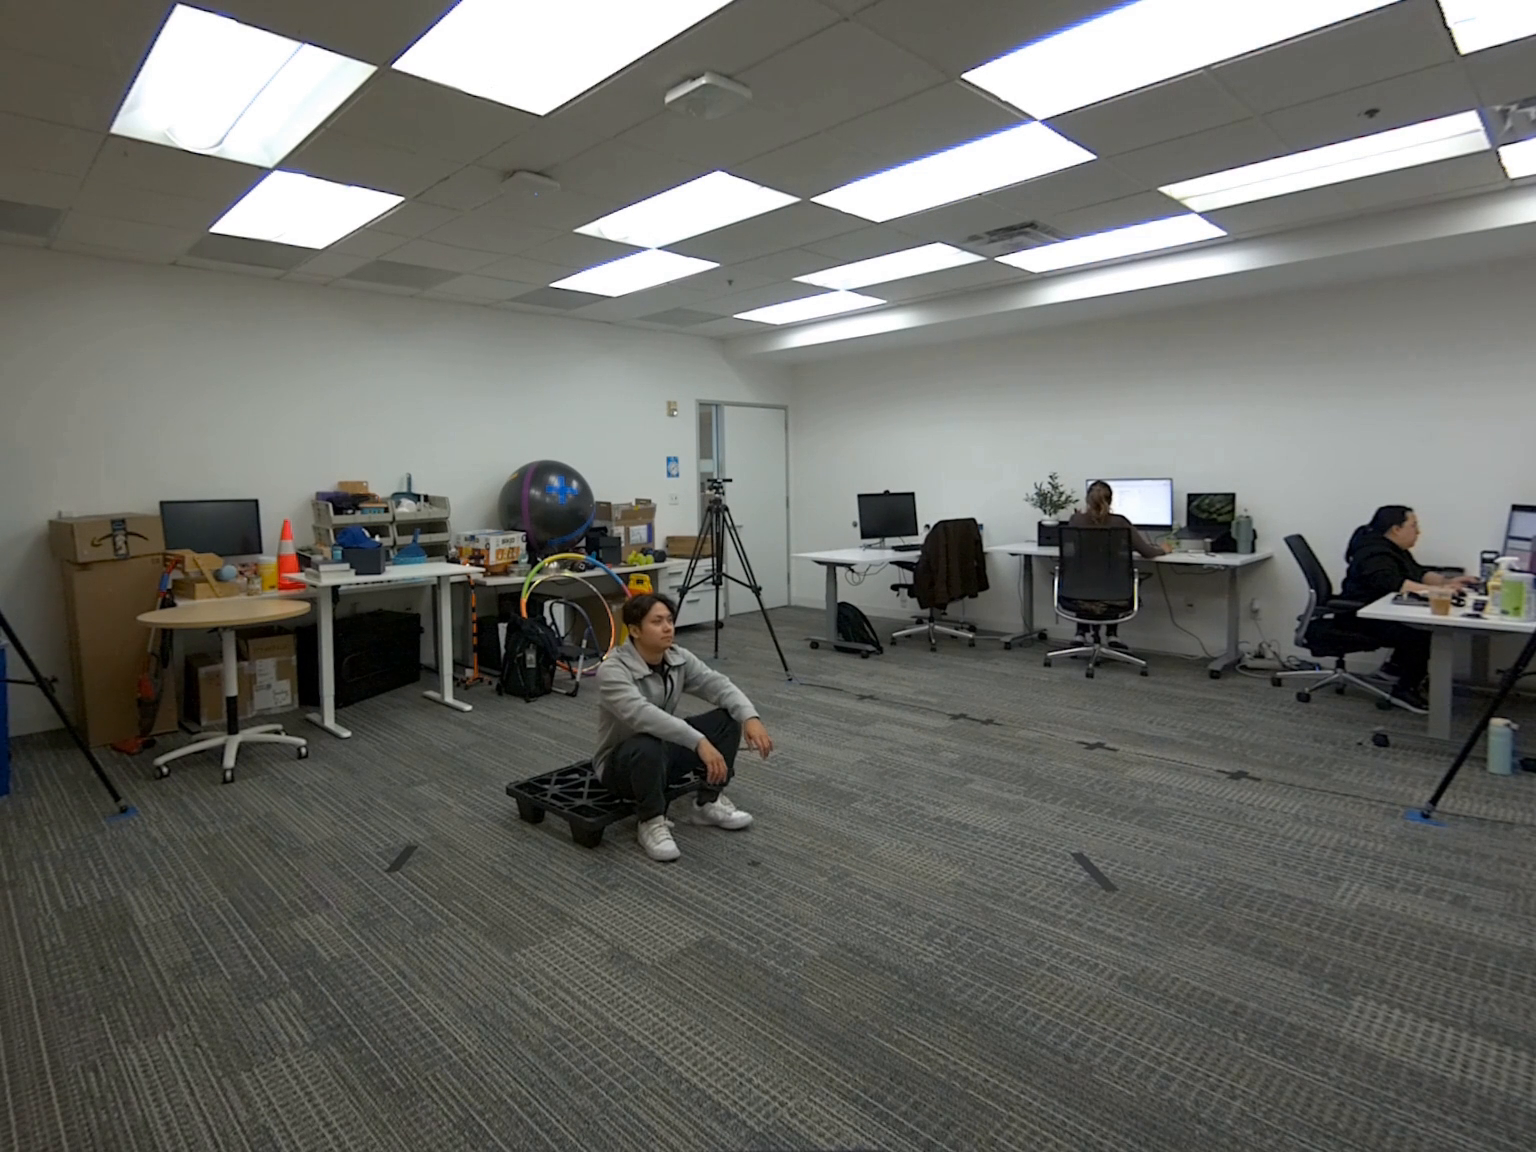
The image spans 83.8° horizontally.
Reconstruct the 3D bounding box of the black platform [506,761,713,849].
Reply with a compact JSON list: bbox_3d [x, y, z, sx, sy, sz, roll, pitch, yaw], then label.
[{"bbox_3d":[-0.617,0.926,3.673,0.624,0.142,0.785,5,9,41],"label":"black platform"}]
